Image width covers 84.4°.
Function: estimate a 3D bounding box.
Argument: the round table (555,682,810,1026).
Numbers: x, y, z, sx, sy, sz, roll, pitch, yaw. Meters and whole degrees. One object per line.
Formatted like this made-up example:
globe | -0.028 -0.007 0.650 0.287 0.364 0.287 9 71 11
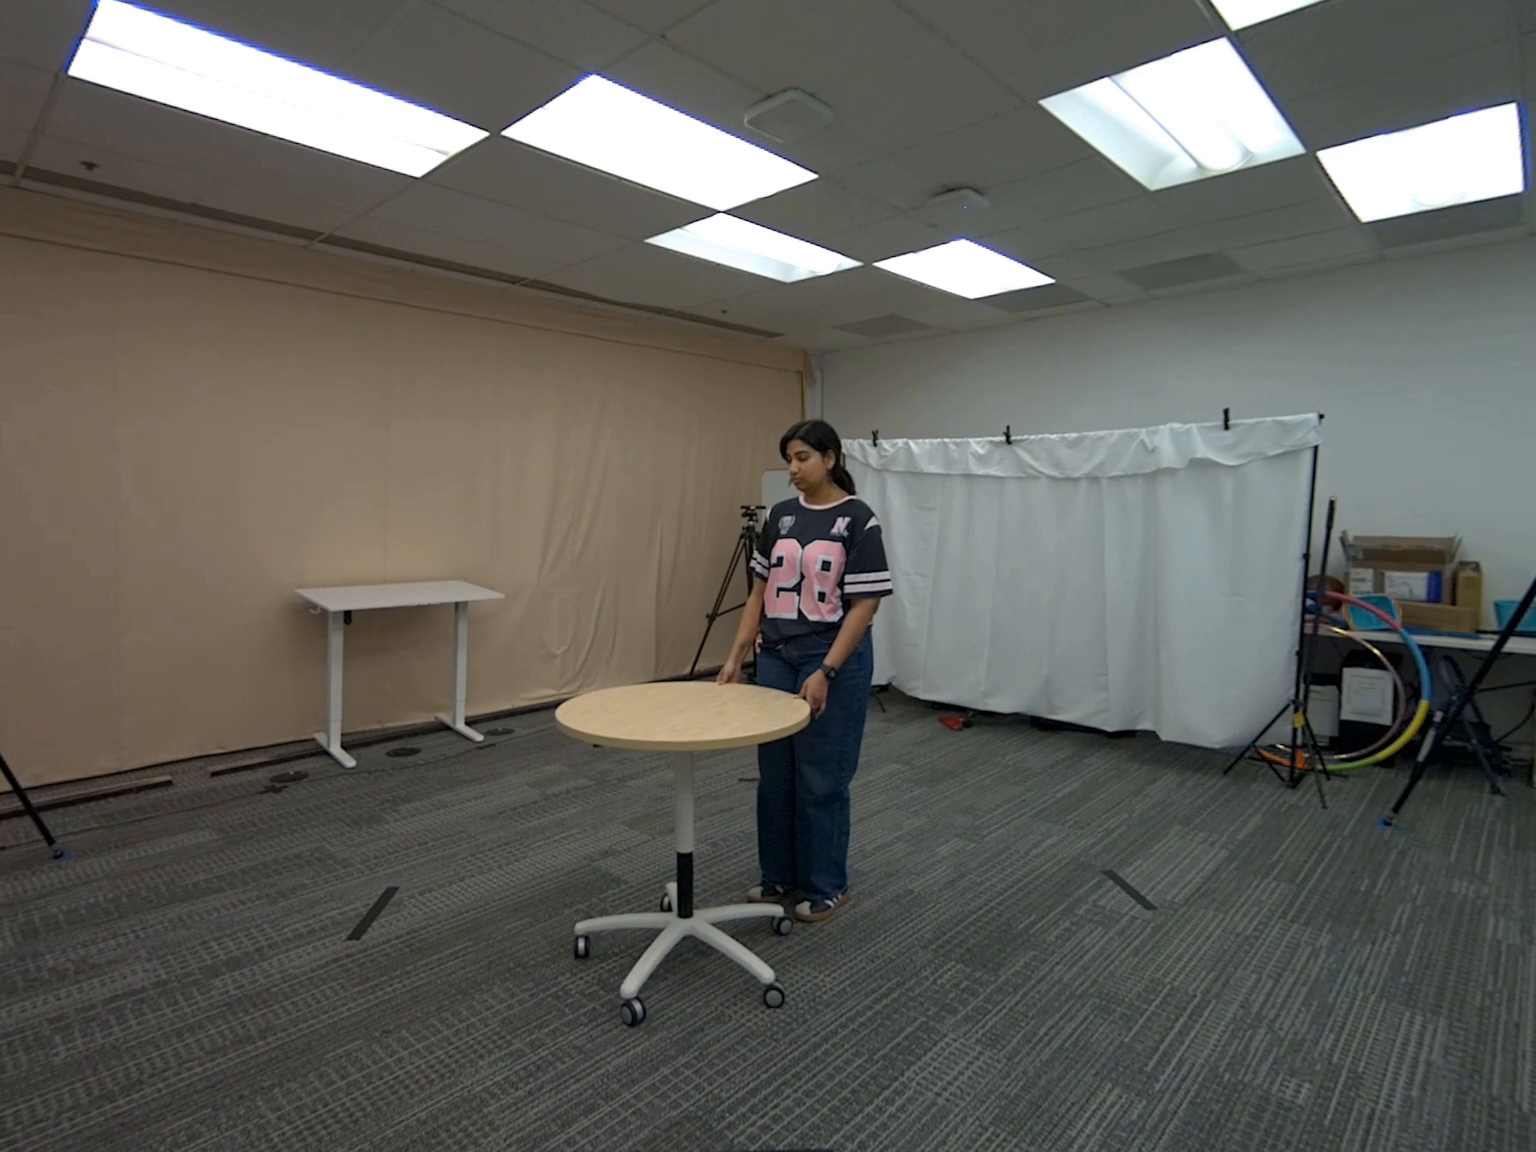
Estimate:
round table | -0.238 0.788 2.564 0.784 0.785 0.788 -1 4 -2
